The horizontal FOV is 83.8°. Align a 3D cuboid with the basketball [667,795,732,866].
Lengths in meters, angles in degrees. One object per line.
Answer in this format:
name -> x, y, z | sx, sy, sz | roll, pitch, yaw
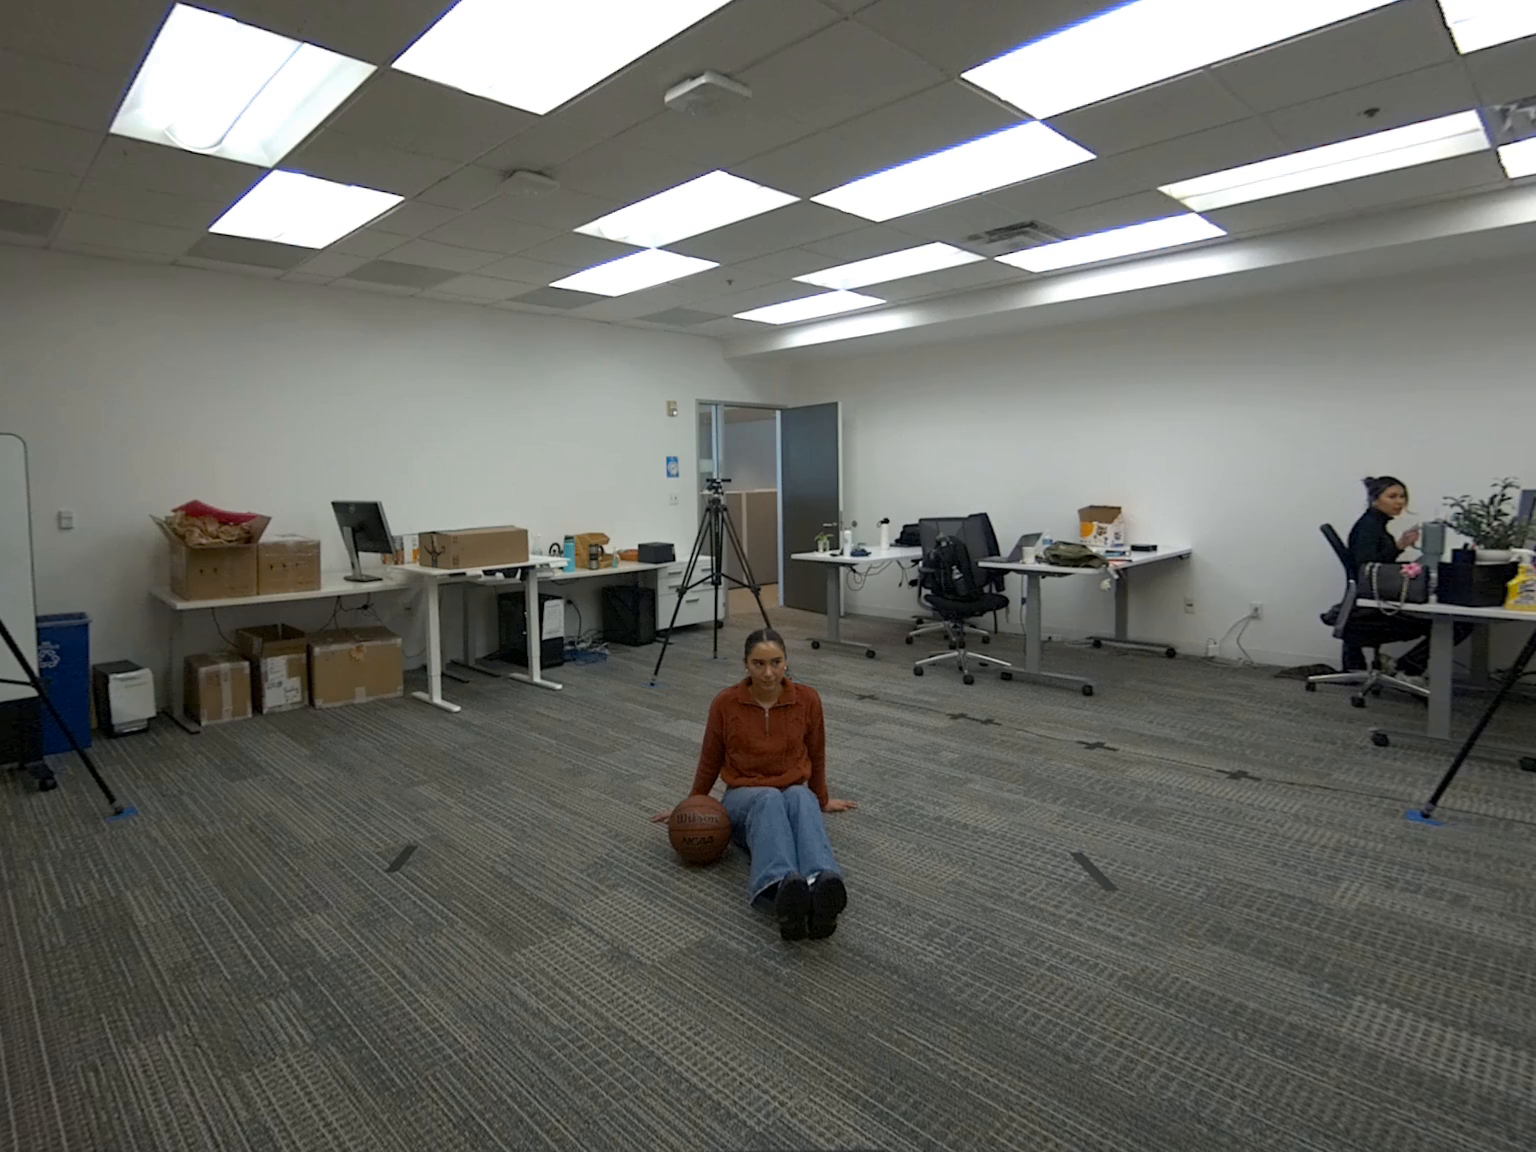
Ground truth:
basketball -> -0.248, 0.924, 3.129 | 0.236, 0.235, 0.237 | -1, 5, -2
